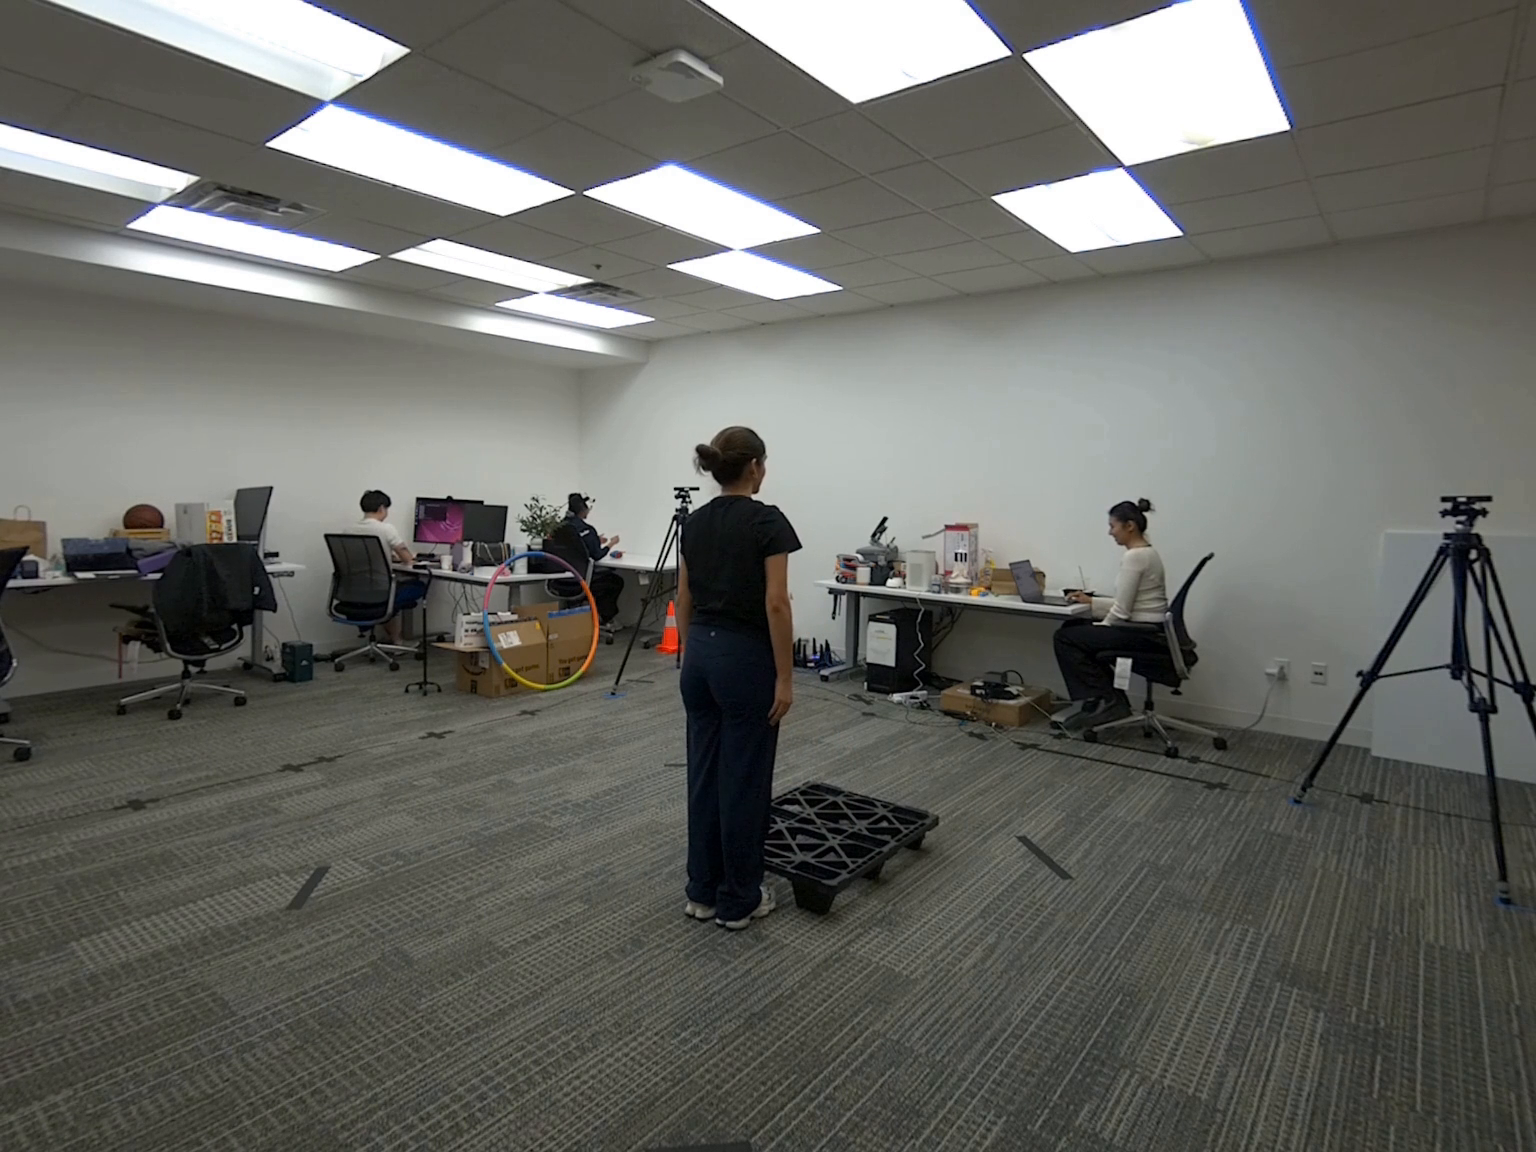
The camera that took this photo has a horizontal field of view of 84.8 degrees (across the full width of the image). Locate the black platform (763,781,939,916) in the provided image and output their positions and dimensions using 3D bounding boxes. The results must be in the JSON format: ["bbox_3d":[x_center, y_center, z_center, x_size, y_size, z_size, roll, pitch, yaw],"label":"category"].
[{"bbox_3d":[0.211,0.999,3.209,0.625,0.143,0.782,5,6,38],"label":"black platform"}]
